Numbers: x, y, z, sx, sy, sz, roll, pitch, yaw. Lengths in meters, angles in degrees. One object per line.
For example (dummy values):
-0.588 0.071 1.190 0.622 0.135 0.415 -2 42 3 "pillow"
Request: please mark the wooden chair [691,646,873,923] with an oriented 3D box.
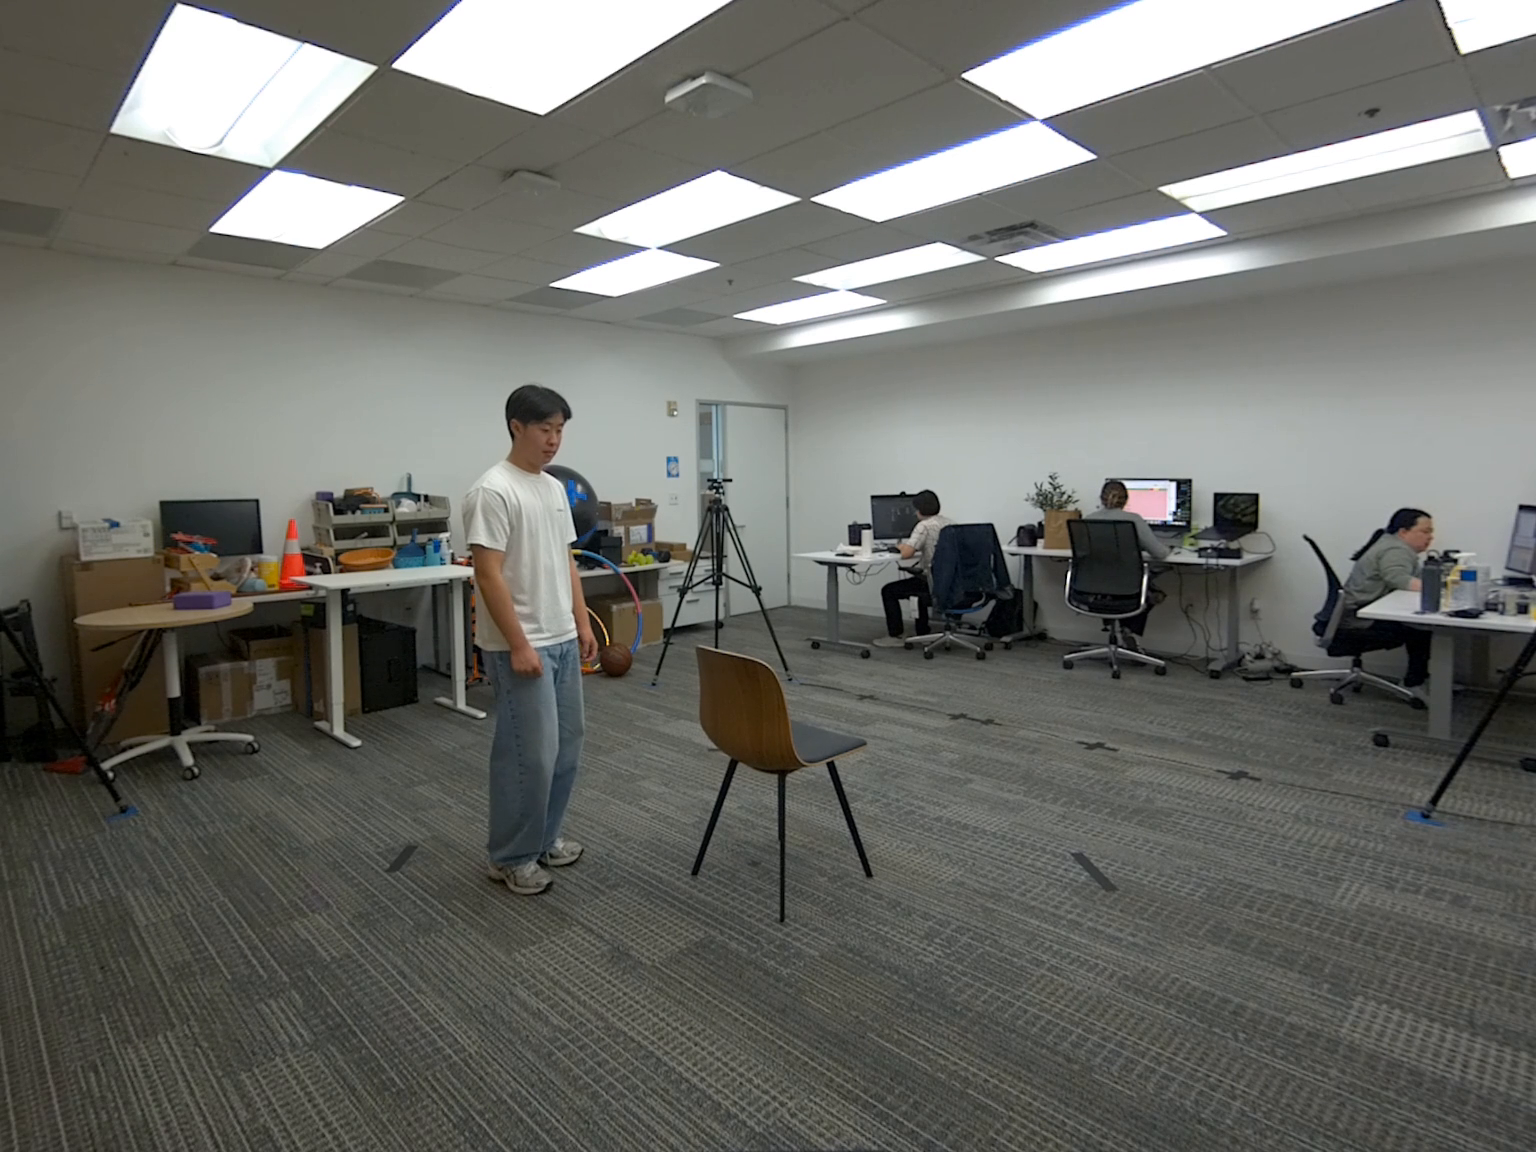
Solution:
0.047 0.629 2.971 0.511 0.871 0.493 -11 10 -43 "wooden chair"
